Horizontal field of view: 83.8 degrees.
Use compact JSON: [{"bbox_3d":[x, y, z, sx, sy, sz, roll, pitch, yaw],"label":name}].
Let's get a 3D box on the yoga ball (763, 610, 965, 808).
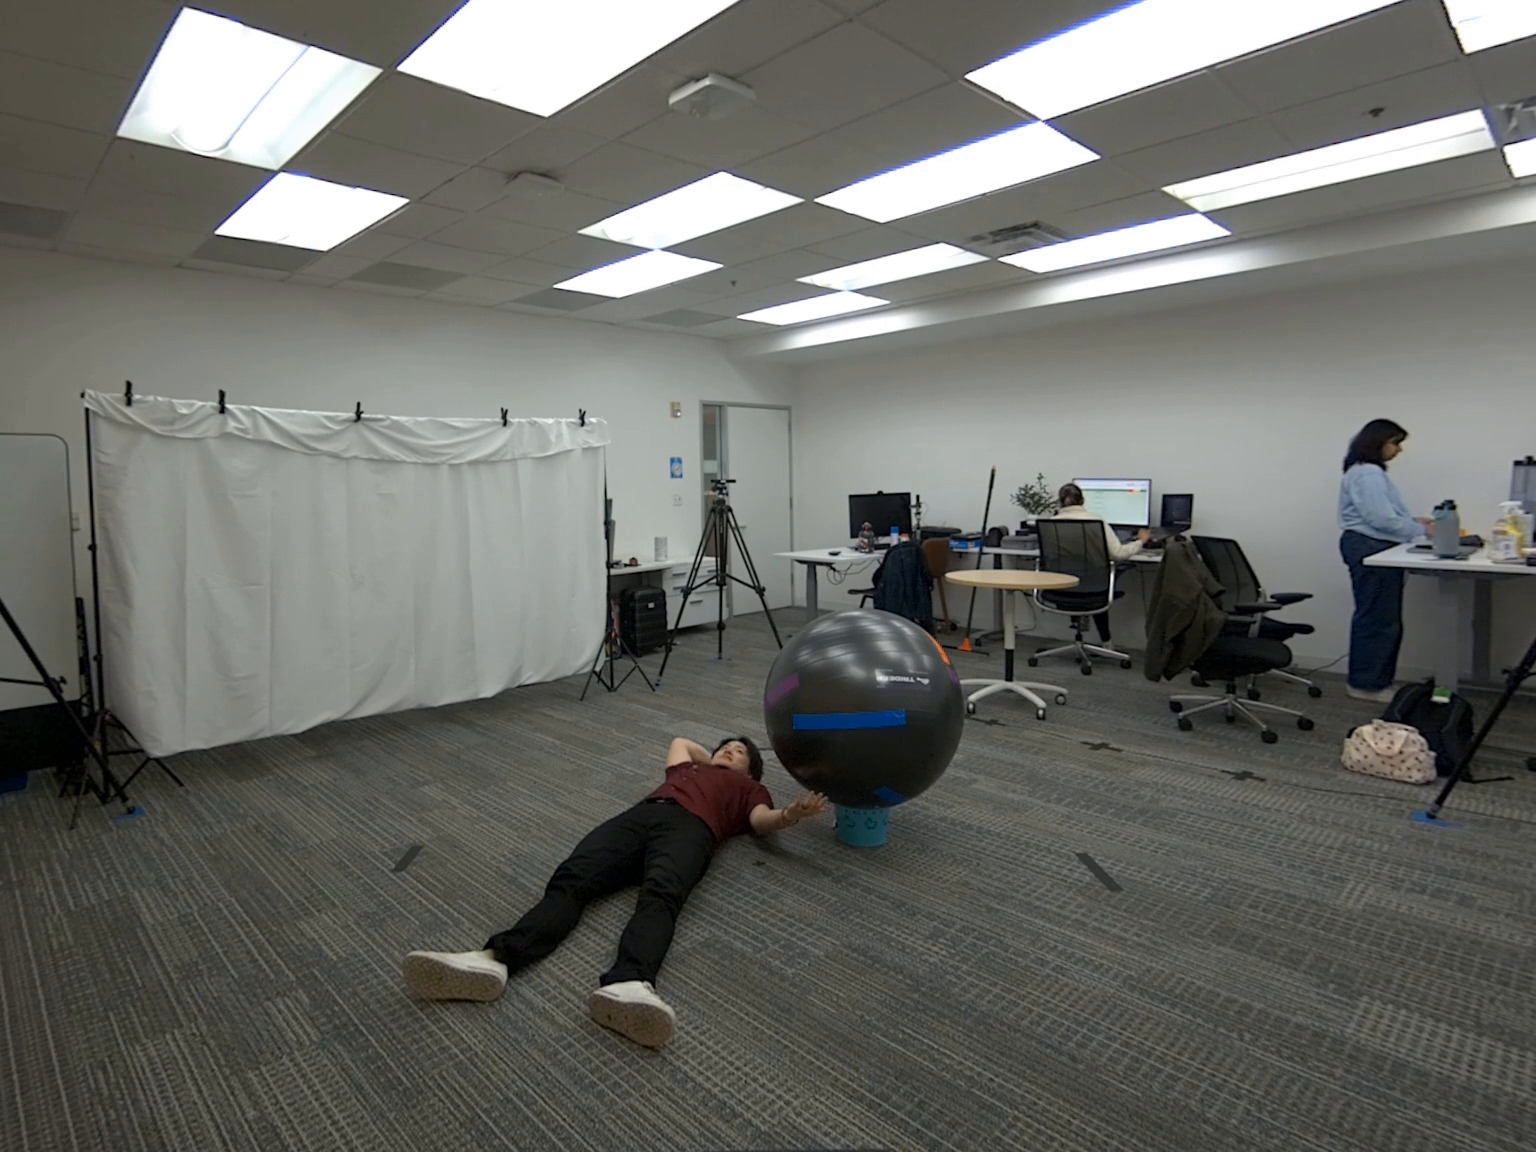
[{"bbox_3d":[0.365,0.508,3.297,0.757,0.755,0.762,-1,5,-2],"label":"yoga ball"}]
